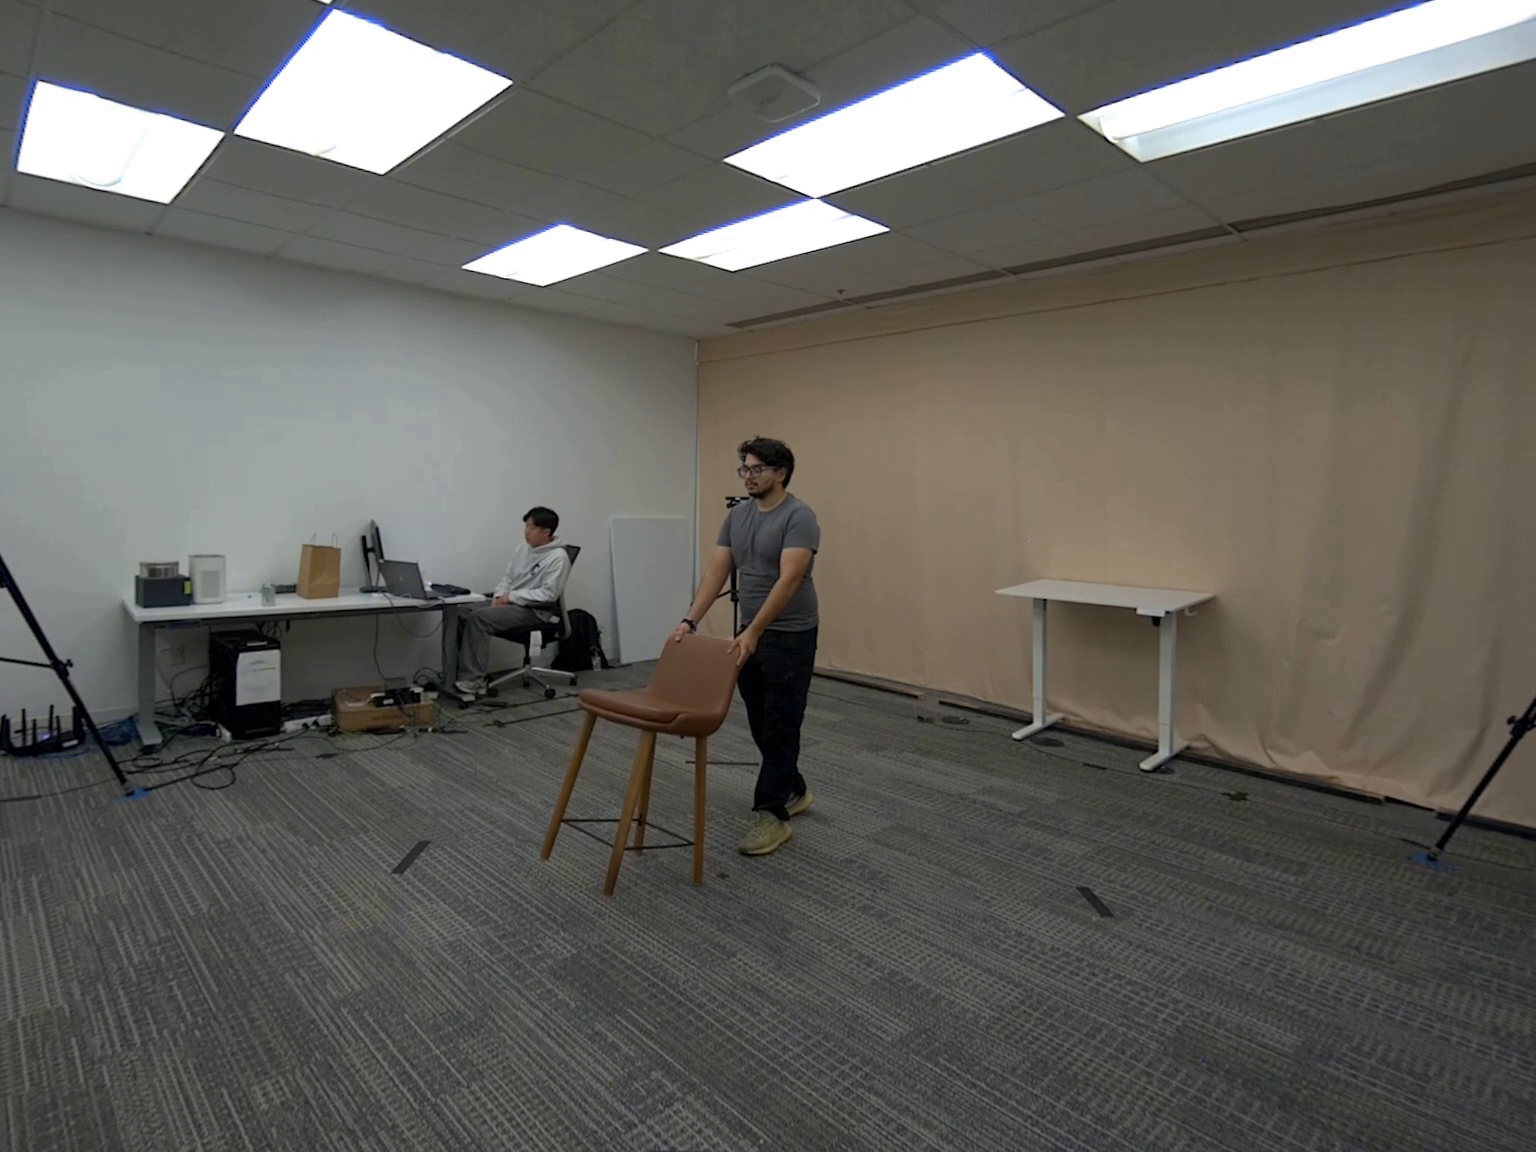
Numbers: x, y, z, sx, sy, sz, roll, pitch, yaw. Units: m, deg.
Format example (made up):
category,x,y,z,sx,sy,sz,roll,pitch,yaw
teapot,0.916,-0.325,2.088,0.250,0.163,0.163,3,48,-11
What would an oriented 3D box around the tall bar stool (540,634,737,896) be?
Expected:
category,x,y,z,sx,sy,sz,roll,pitch,yaw
tall bar stool,-0.443,0.630,3.054,0.468,0.893,0.454,4,-10,45
